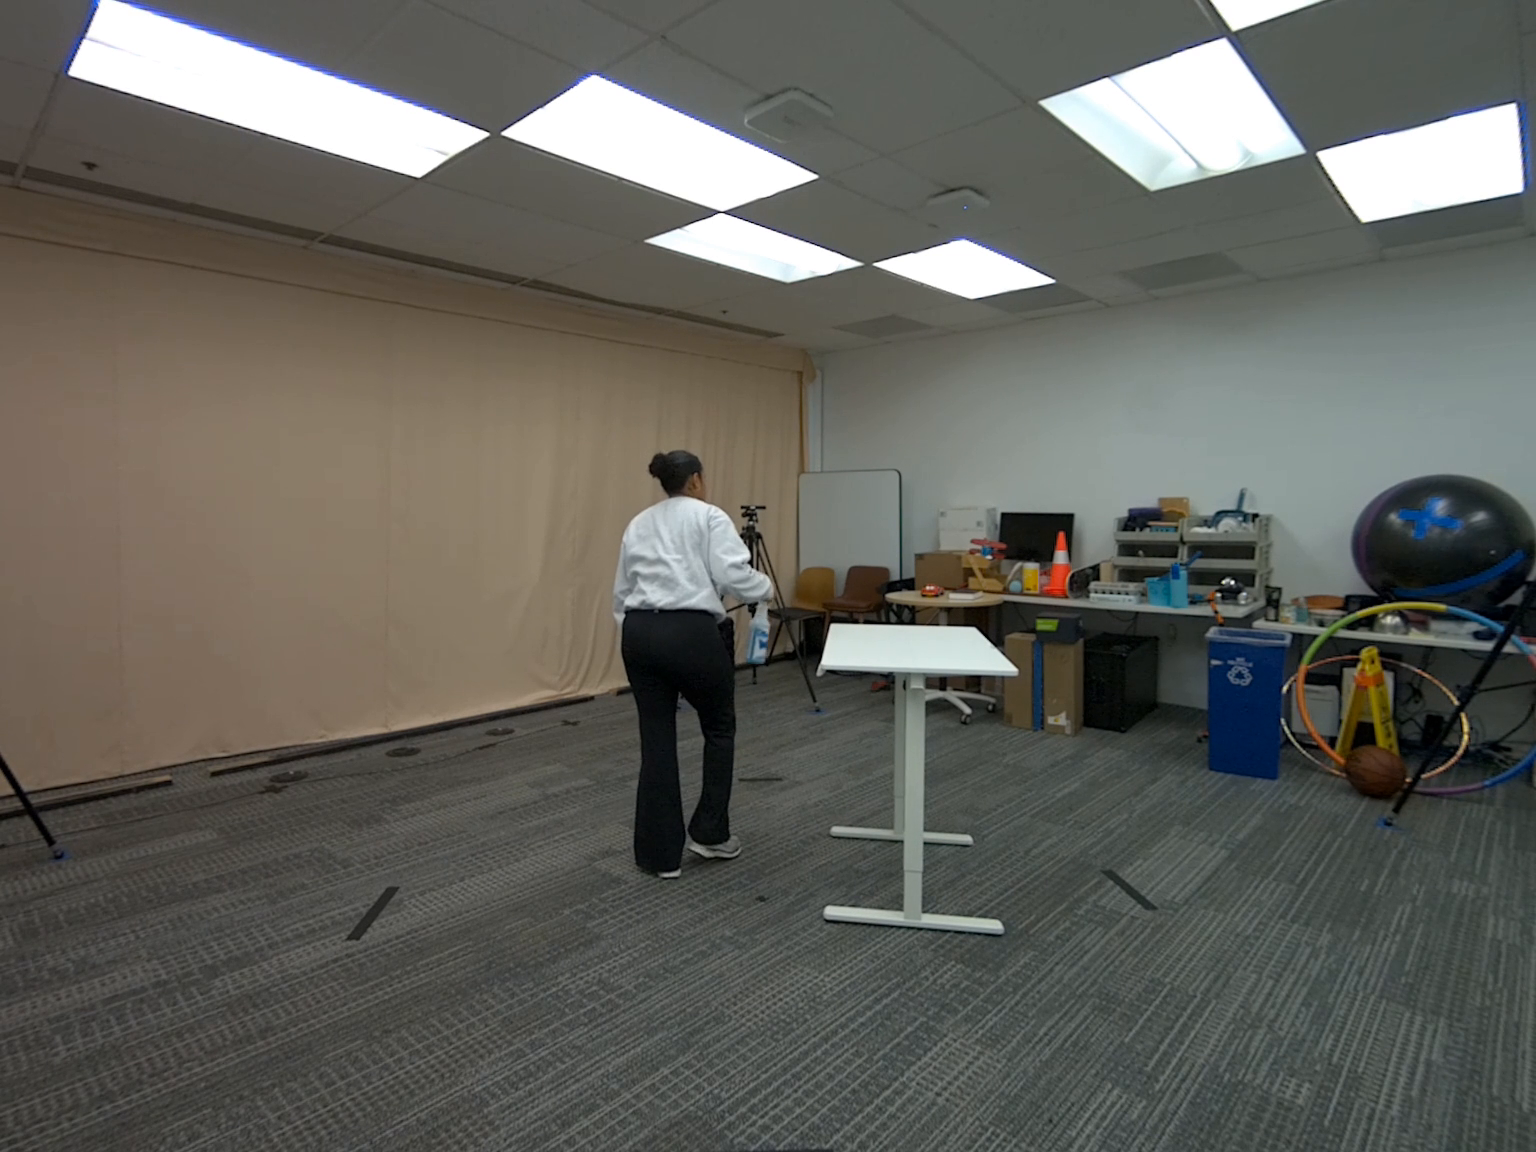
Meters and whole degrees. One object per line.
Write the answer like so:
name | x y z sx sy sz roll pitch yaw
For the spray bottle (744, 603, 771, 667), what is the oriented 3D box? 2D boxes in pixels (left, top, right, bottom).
spray bottle | -0.026 0.211 3.374 0.089 0.297 0.088 10 1 16
